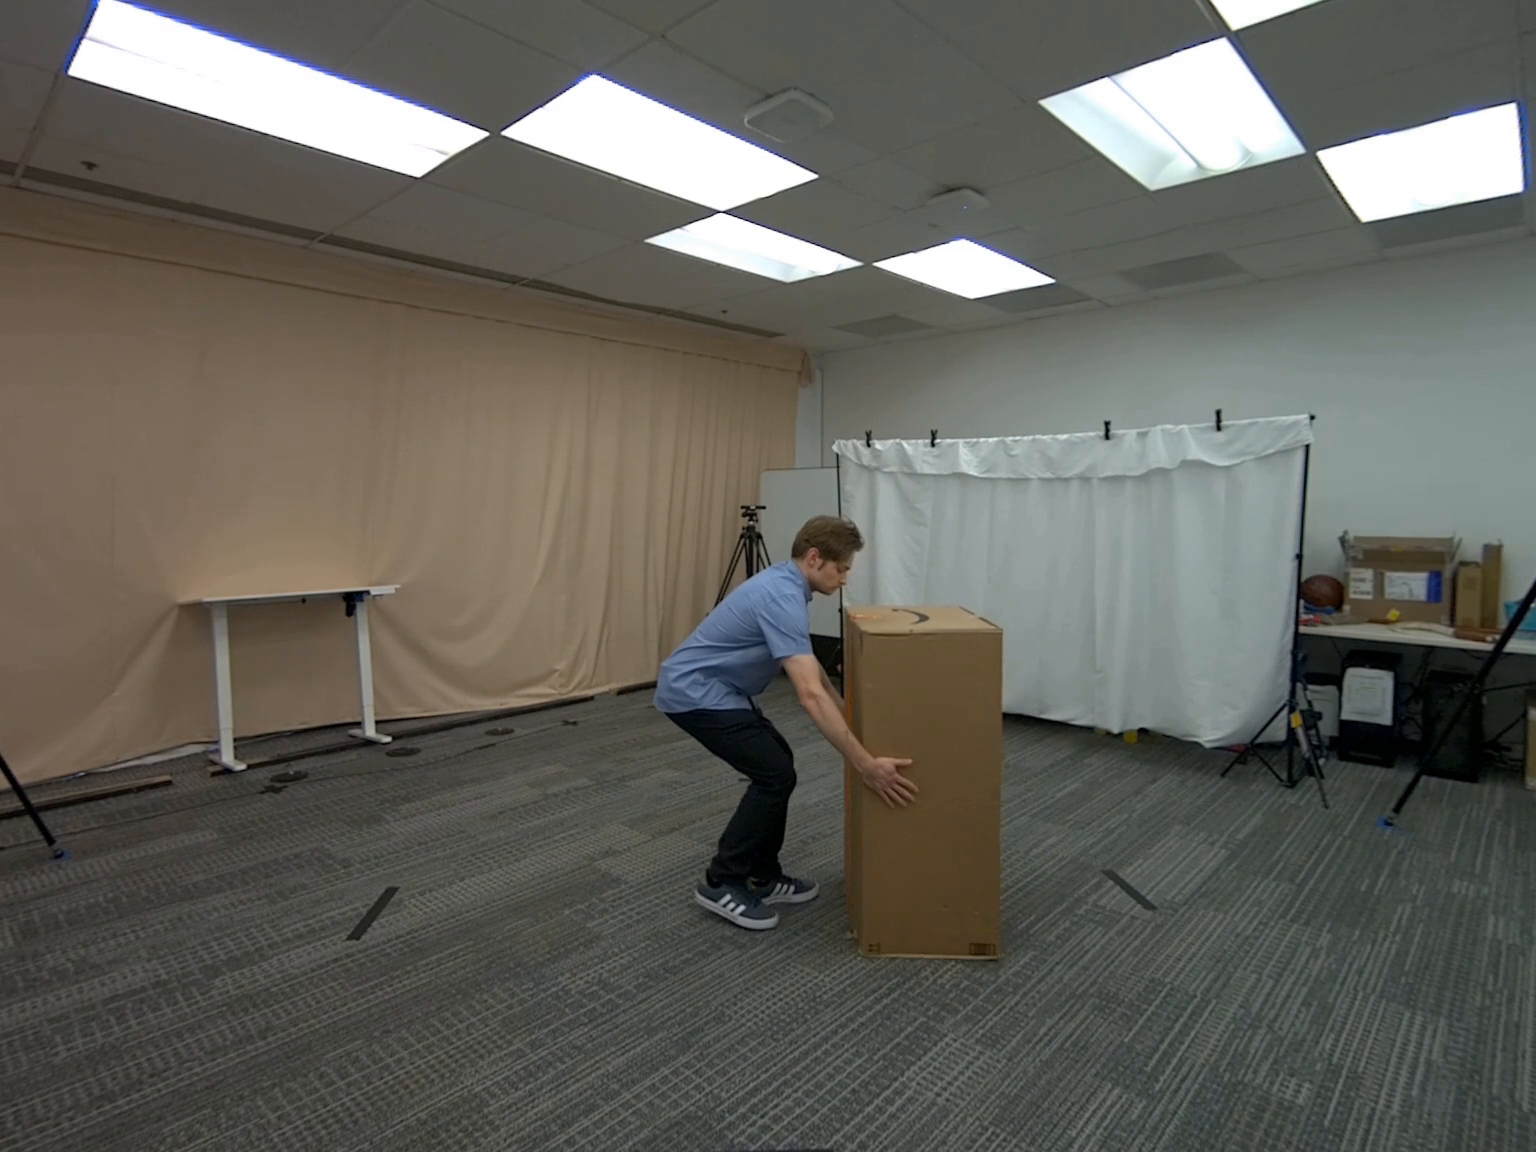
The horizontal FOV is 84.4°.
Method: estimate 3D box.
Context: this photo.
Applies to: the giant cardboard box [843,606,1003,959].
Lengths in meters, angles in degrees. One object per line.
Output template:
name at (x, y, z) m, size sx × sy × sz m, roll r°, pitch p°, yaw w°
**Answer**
giant cardboard box at (0.501, 0.645, 2.830) m, size 0.427 × 1.023 × 0.578 m, roll 0°, pitch 4°, yaw 0°
